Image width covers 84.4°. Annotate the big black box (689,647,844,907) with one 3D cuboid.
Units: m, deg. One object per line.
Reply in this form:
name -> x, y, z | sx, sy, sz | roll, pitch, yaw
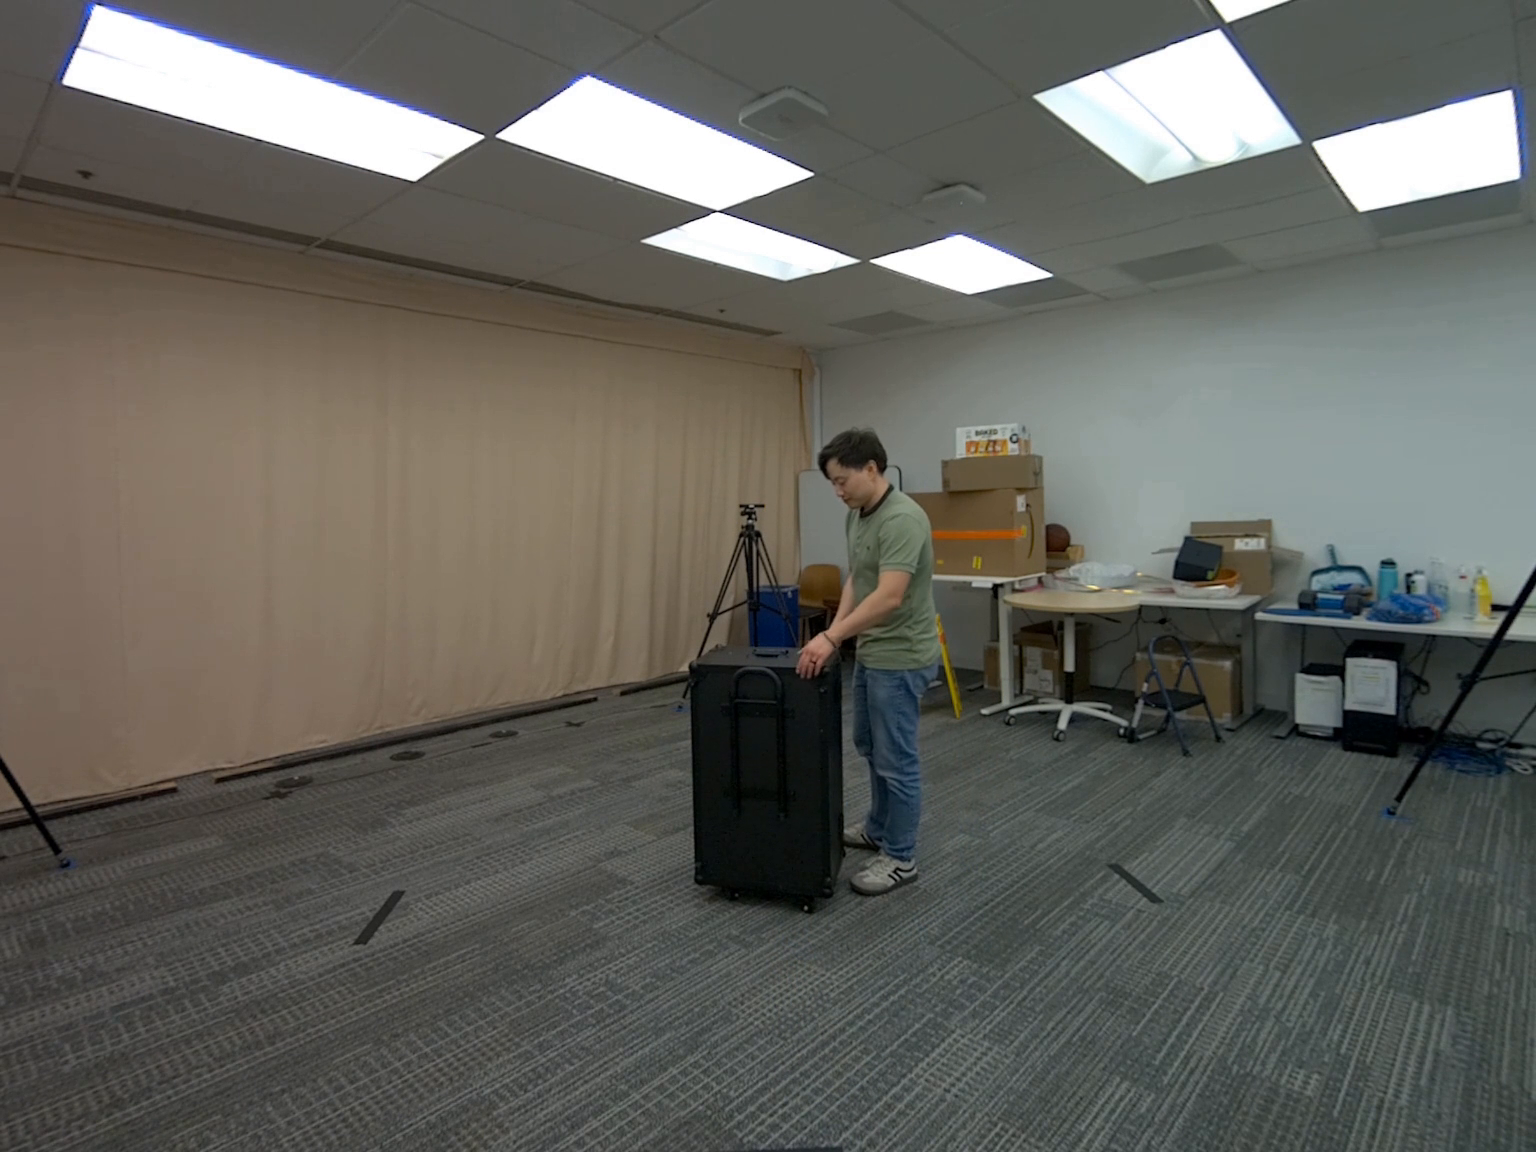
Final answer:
big black box -> 0.009, 0.715, 3.008 | 0.529, 0.859, 0.391 | -1, 3, 13
